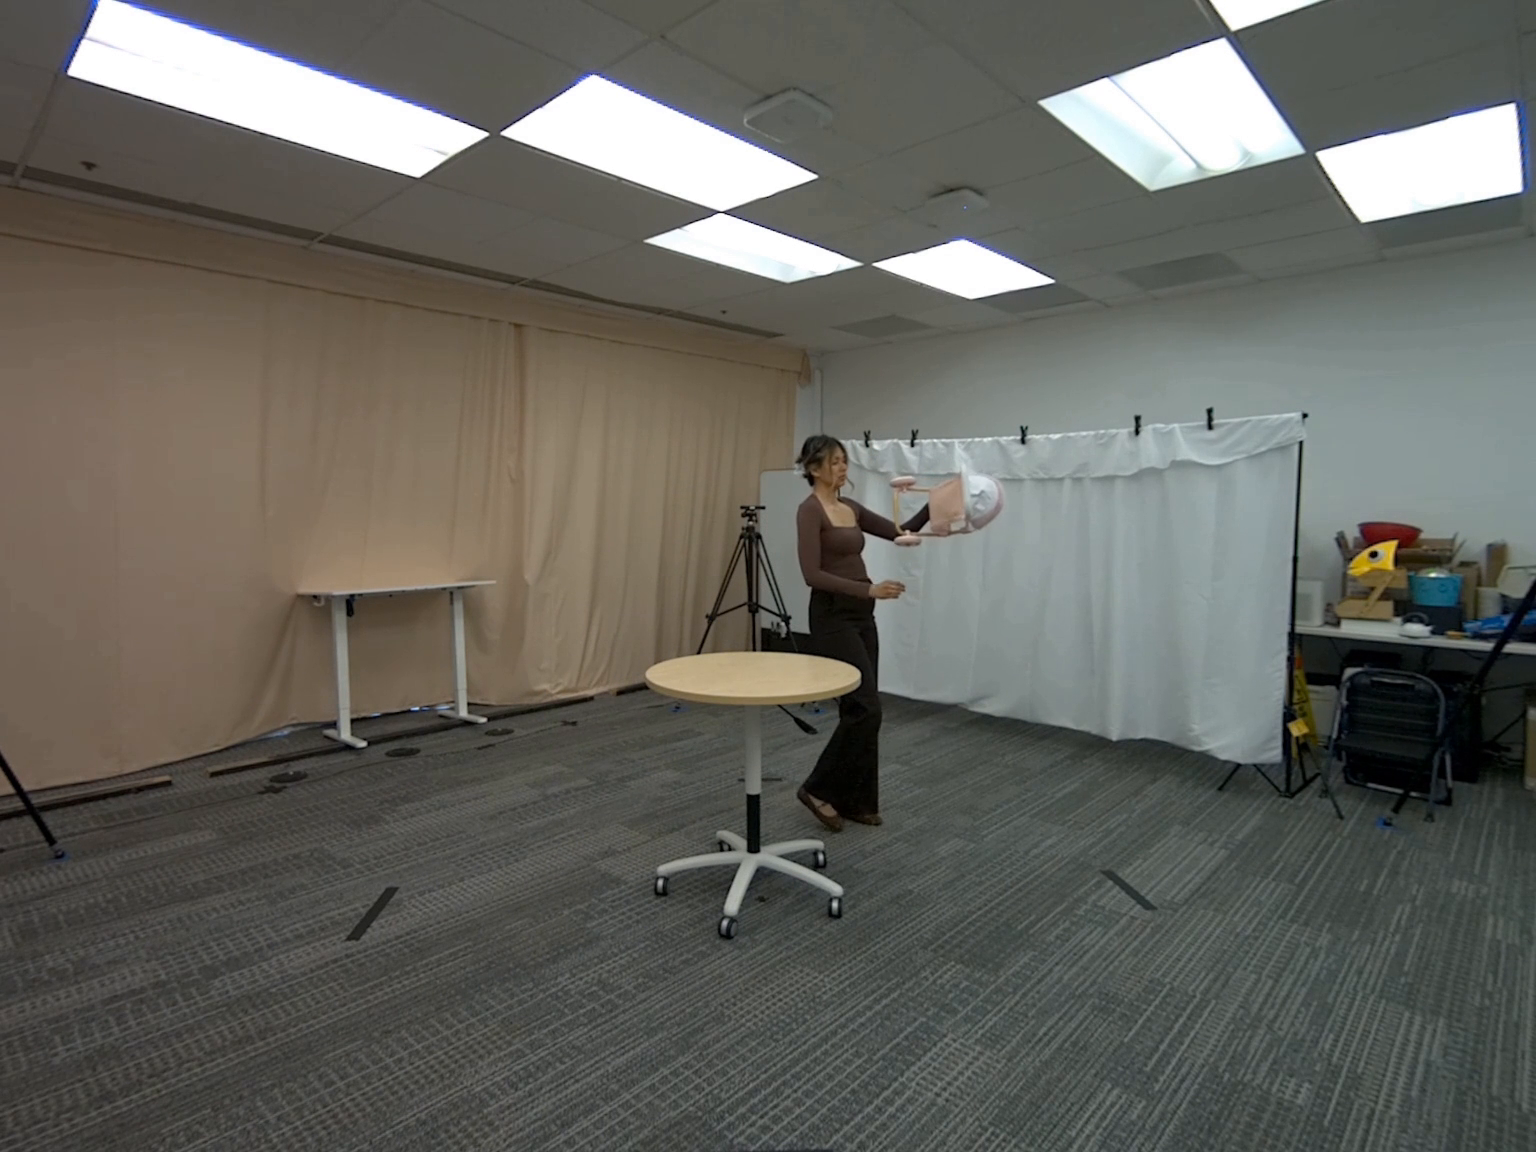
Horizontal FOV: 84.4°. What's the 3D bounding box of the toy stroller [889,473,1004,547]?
[{"bbox_3d":[0.738,-0.274,3.373,0.332,0.283,0.546,8,-12,-27],"label":"toy stroller"}]
